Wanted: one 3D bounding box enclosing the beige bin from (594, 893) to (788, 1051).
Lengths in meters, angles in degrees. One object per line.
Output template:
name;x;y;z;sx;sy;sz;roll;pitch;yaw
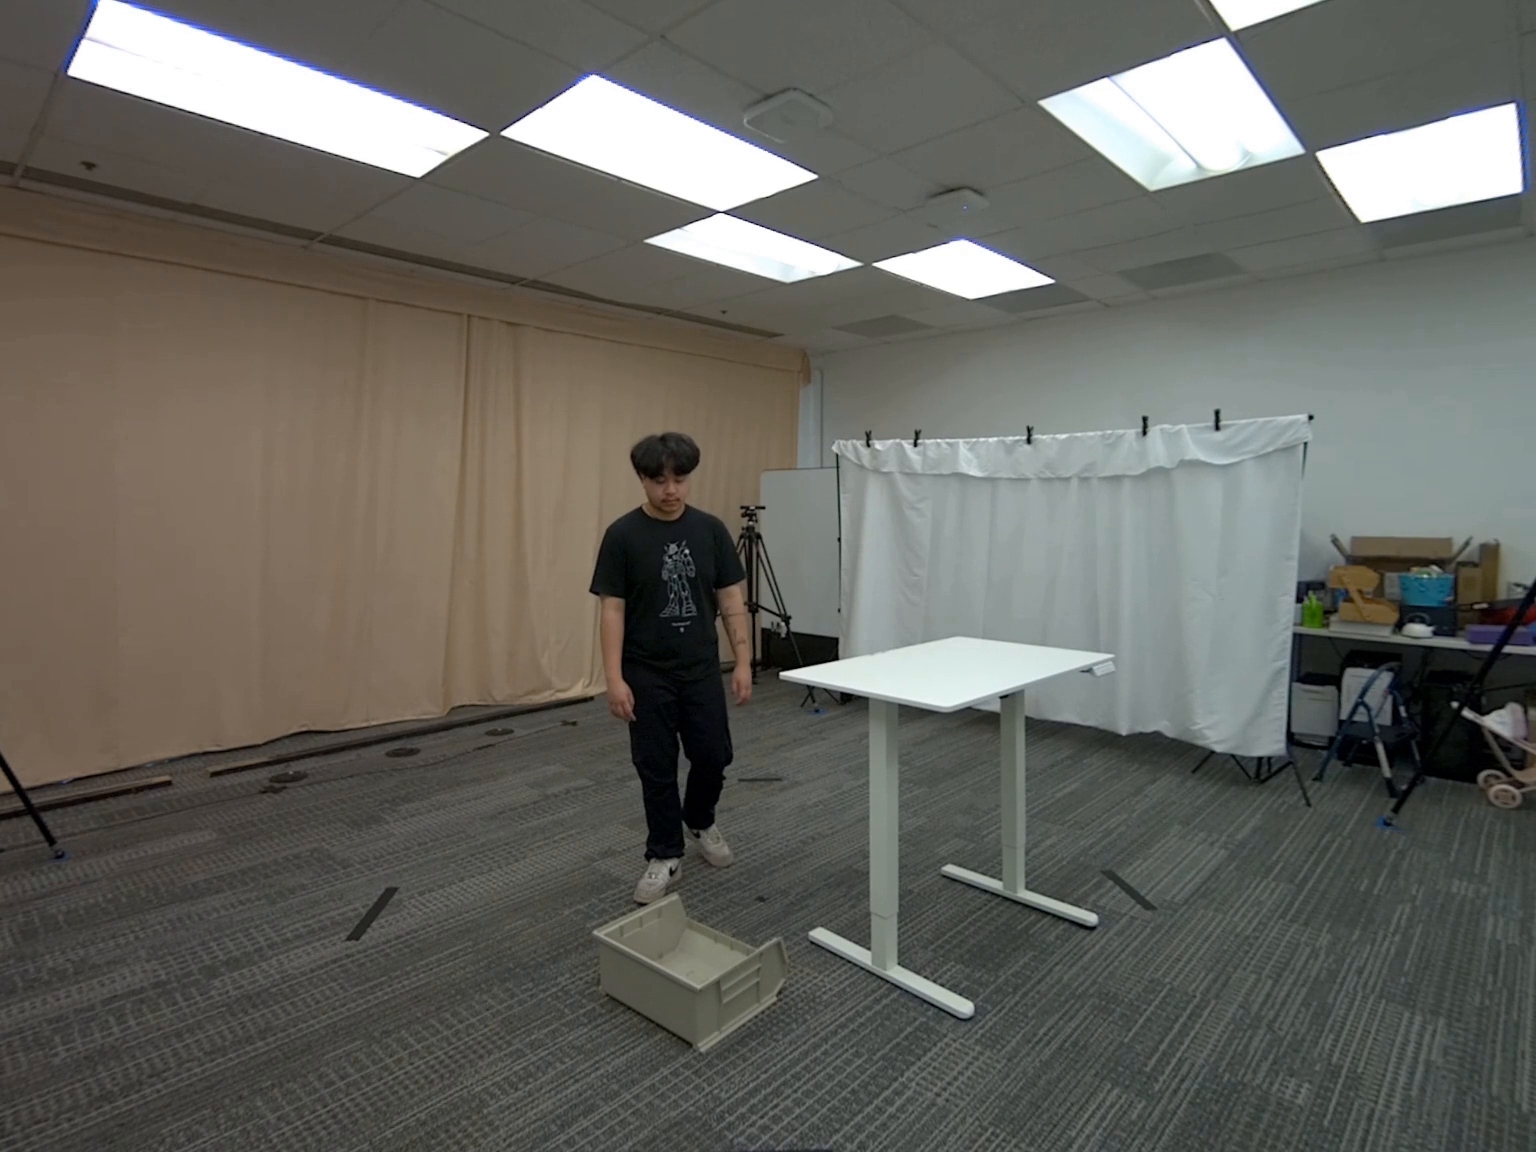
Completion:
beige bin;-0.218;1.104;2.406;0.436;0.188;0.366;5;7;40
